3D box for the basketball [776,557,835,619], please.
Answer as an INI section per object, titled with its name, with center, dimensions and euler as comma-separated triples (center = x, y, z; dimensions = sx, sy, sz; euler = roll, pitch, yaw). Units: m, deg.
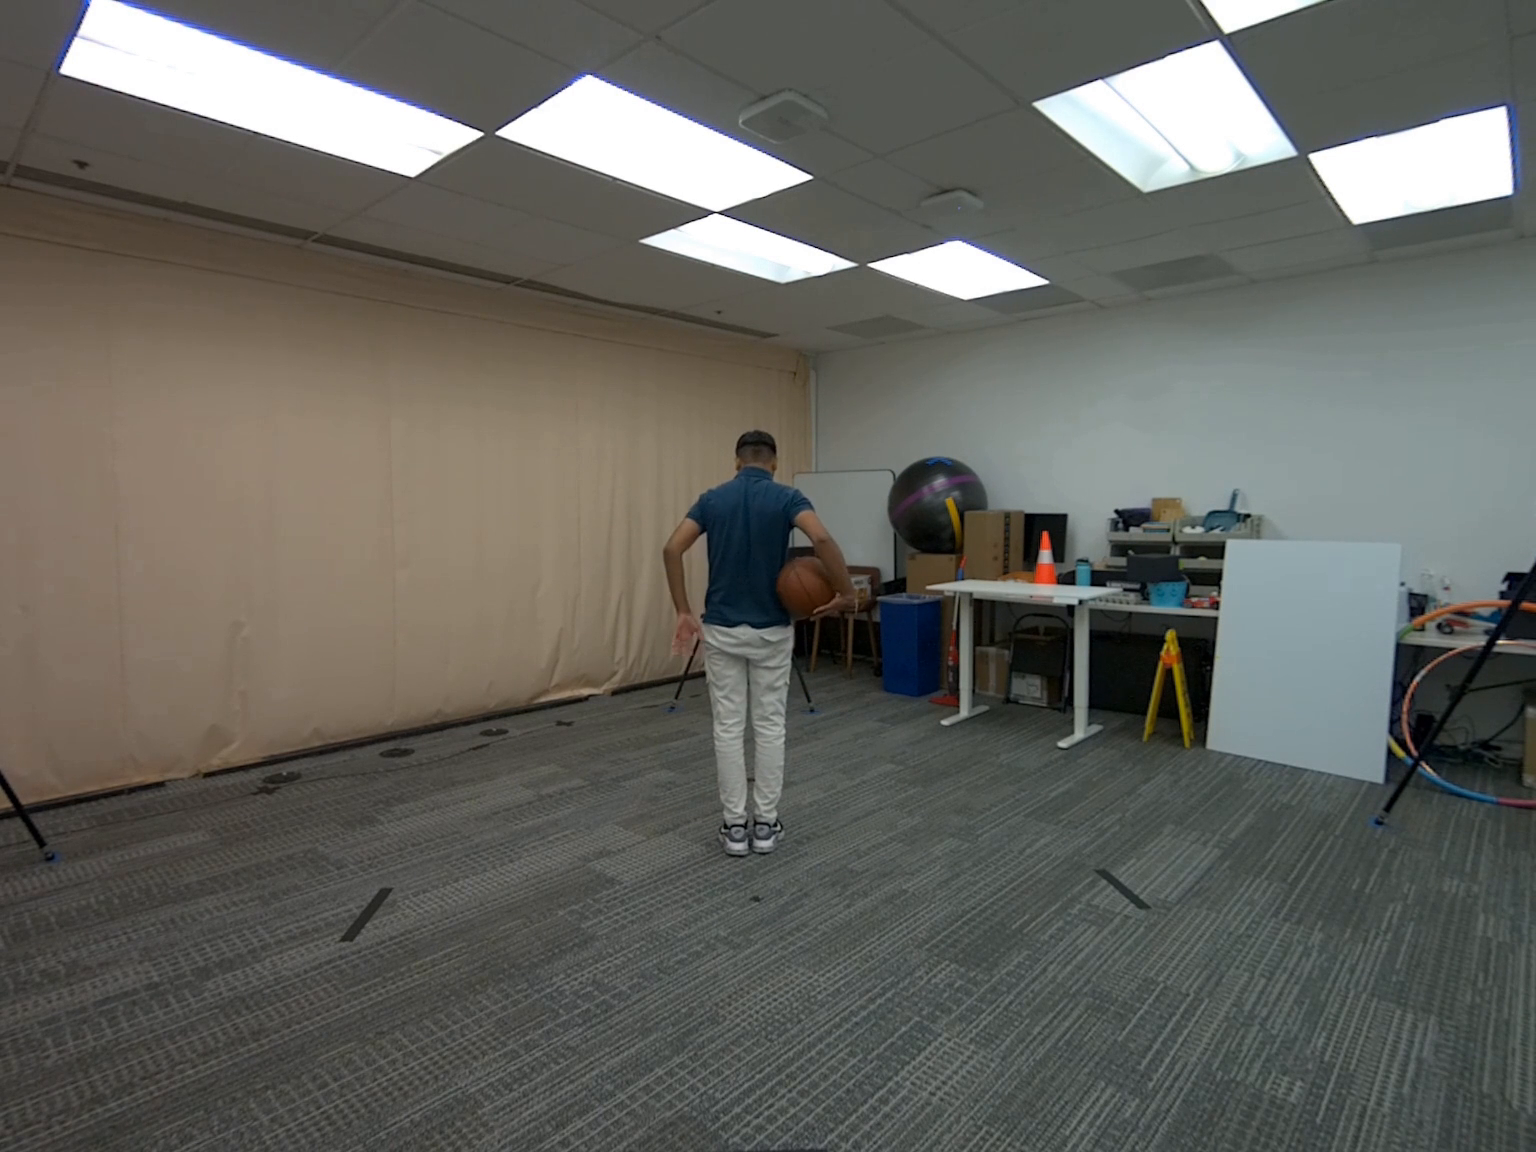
[basketball]
center = 0.143, 0.047, 3.313
dimensions = 0.236, 0.235, 0.237
euler = 0, 4, -2
